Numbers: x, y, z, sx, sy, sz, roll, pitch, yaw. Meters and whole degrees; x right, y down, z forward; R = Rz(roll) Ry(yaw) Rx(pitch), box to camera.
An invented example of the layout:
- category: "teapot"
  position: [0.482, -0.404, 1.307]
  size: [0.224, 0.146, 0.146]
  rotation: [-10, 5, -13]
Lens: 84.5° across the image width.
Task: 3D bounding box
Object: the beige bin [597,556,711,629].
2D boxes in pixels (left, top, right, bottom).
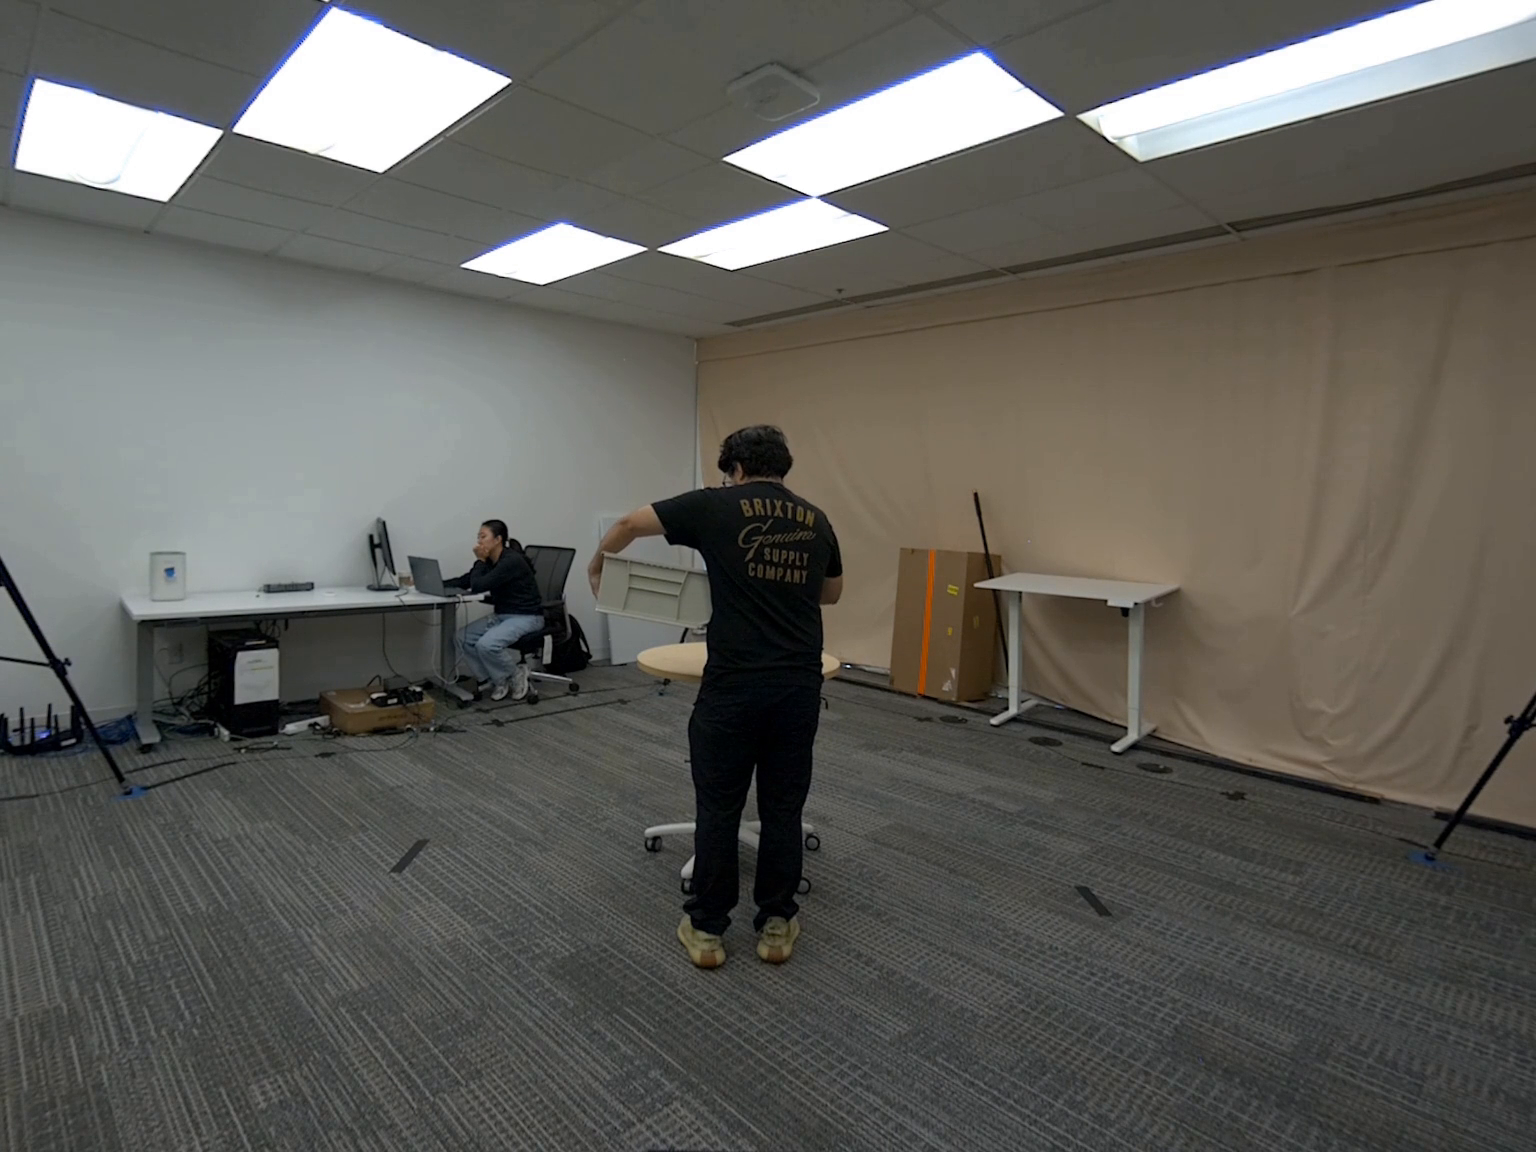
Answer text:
- category: "beige bin"
  position: [-0.338, 0.062, 2.716]
  size: [0.378, 0.189, 0.421]
  rotation: [10, -2, 0]
